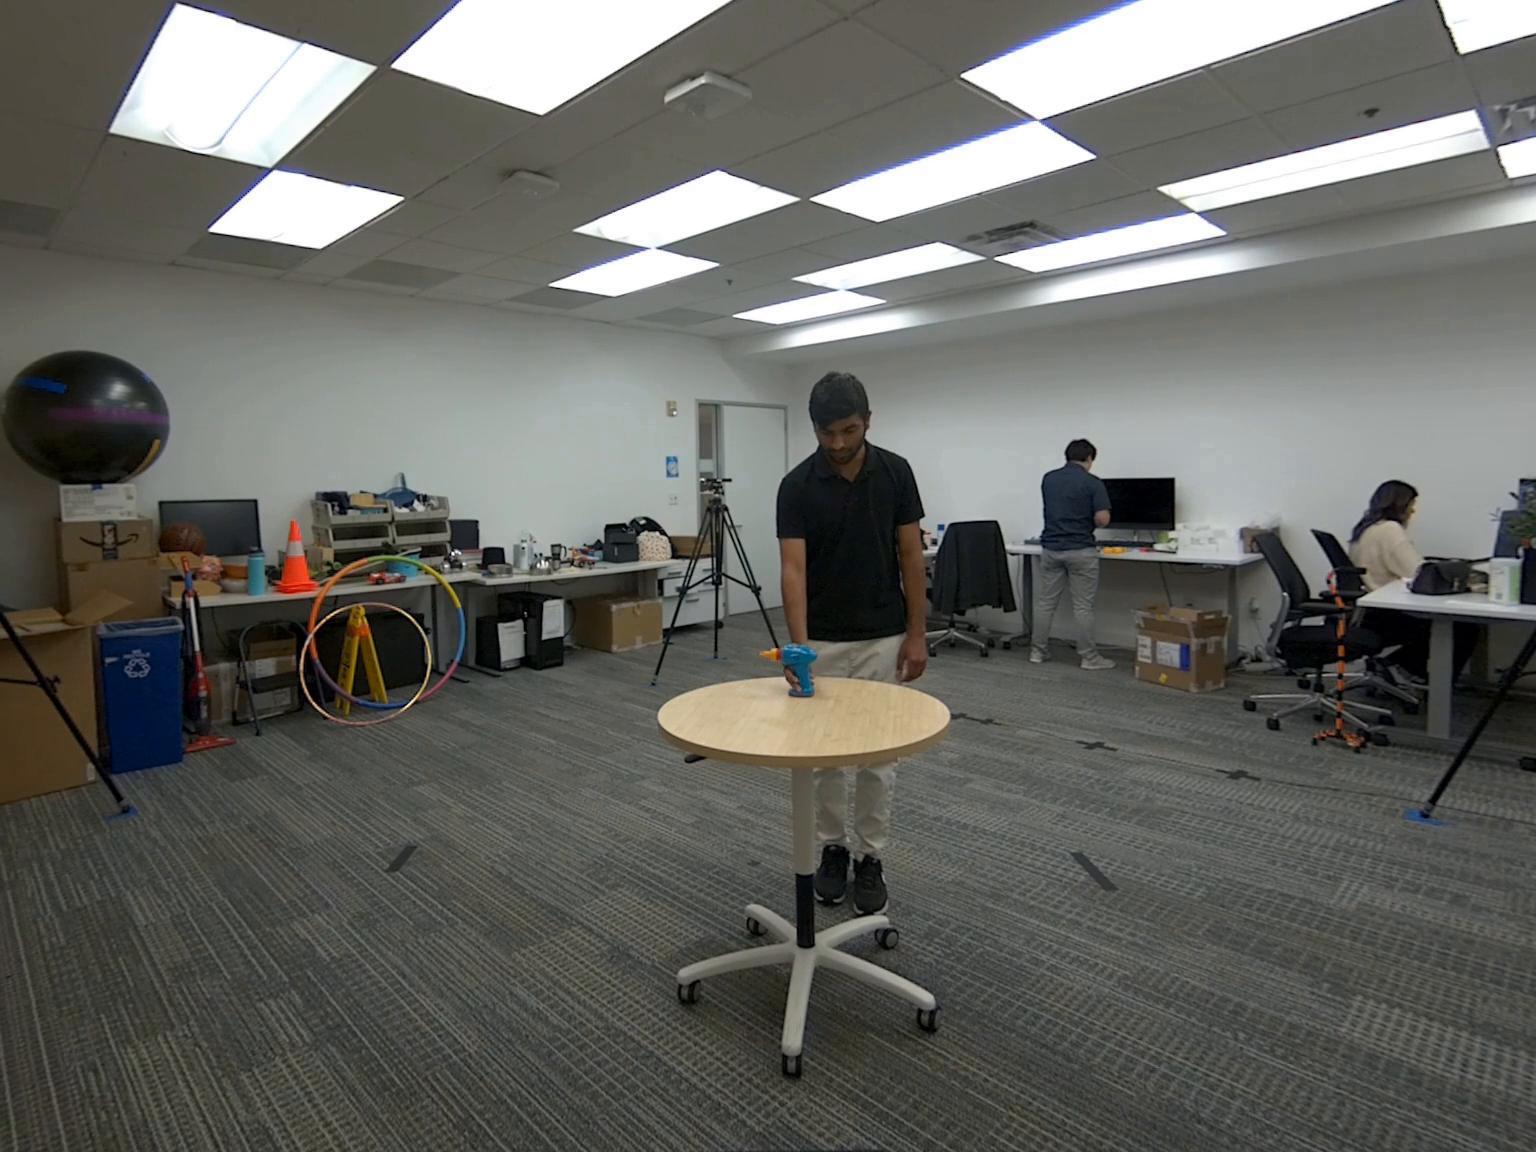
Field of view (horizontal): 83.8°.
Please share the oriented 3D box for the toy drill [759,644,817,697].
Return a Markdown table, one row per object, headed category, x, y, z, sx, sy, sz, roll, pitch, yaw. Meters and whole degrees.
| category | x | y | z | sx | sy | sz | roll | pitch | yaw |
| --- | --- | --- | --- | --- | --- | --- | --- | --- | --- |
| toy drill | 0.062 | 0.266 | 2.425 | 0.173 | 0.145 | 0.060 | 0 | 3 | 19 |
